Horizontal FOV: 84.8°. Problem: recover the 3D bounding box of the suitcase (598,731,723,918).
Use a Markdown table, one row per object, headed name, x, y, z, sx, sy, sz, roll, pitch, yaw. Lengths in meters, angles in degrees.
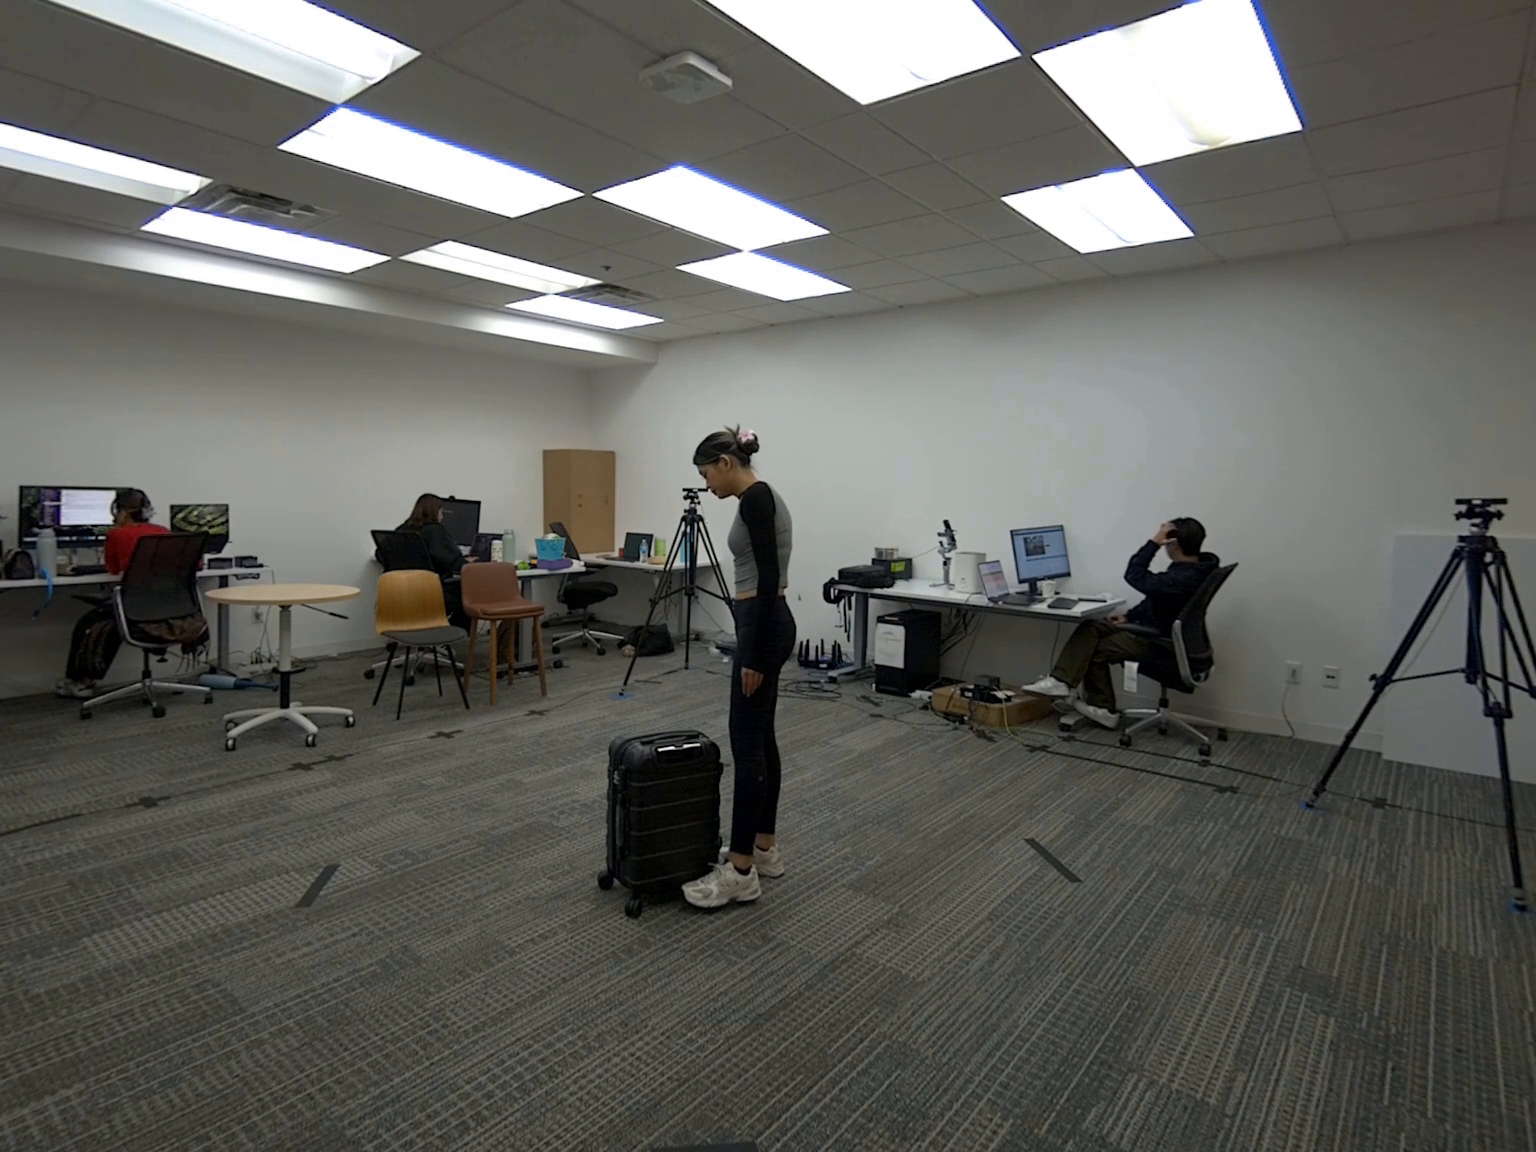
| name | x | y | z | sx | sy | sz | roll | pitch | yaw |
| --- | --- | --- | --- | --- | --- | --- | --- | --- | --- |
| suitcase | -0.373 | 0.803 | 2.929 | 0.365 | 0.548 | 0.256 | -1 | 3 | -30 |
